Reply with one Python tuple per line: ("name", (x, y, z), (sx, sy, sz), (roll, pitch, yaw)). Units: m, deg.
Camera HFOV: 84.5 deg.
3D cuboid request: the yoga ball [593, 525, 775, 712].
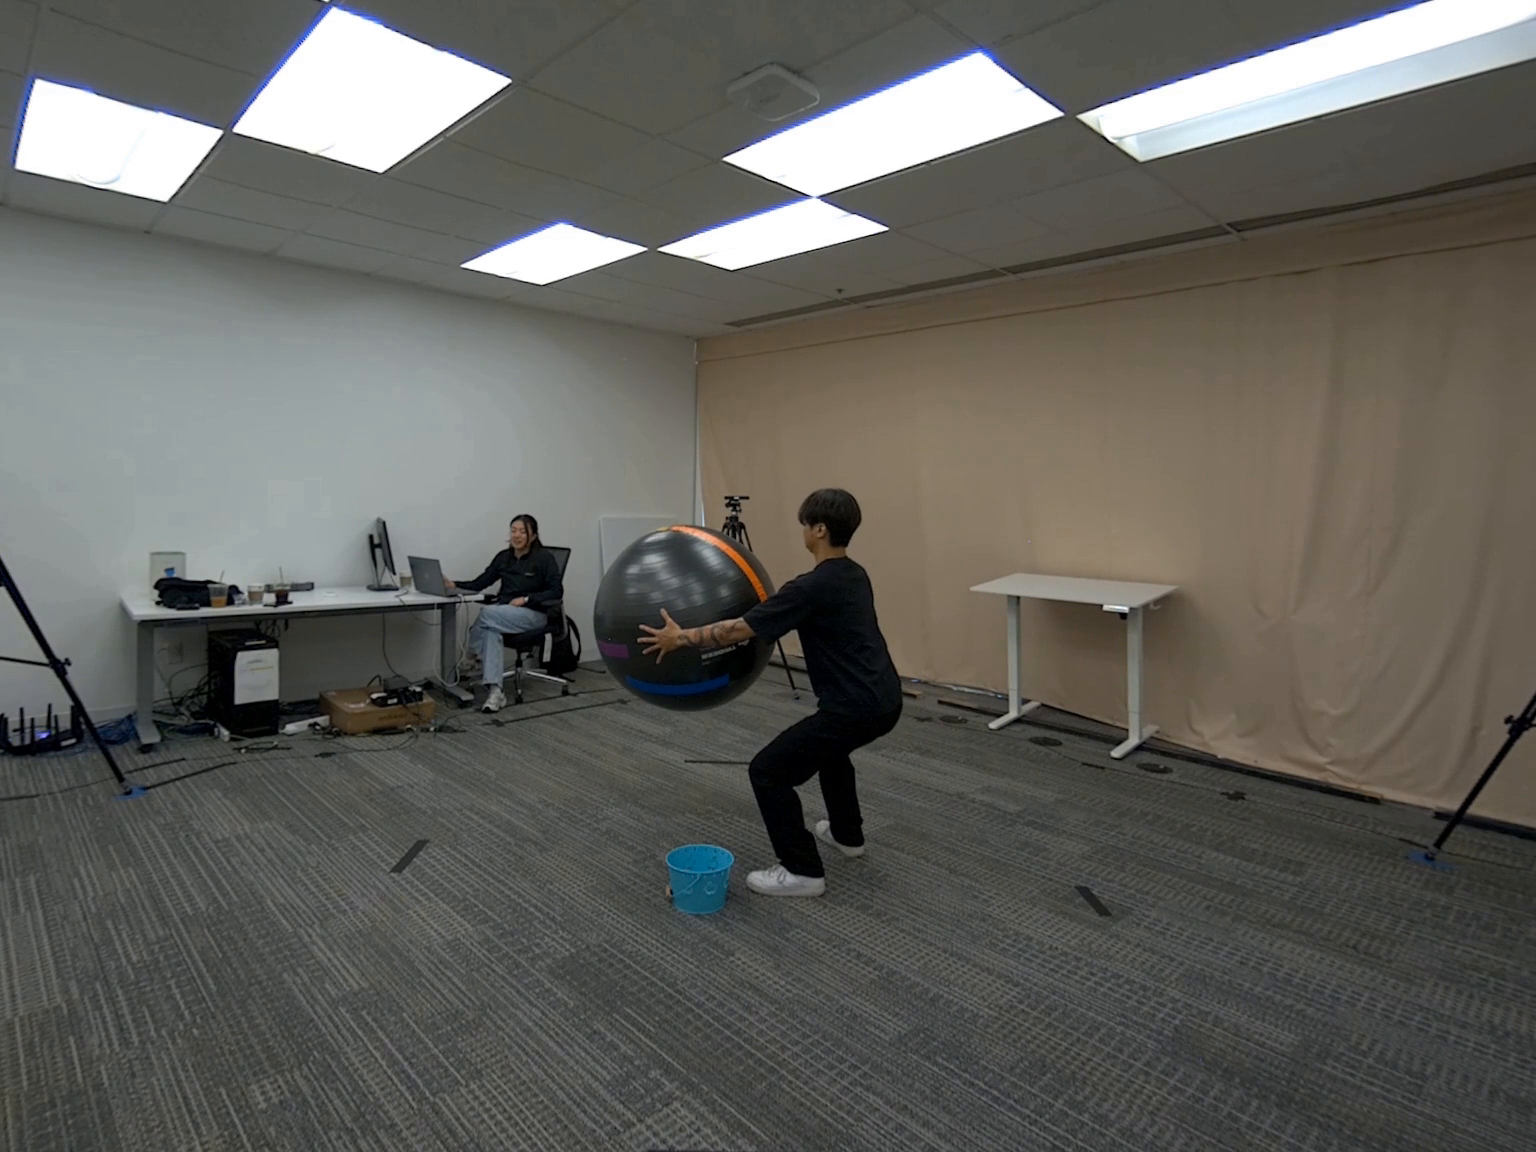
("yoga ball", (-0.354, 0.178, 3.488), (0.757, 0.756, 0.761), (1, 4, -1))
